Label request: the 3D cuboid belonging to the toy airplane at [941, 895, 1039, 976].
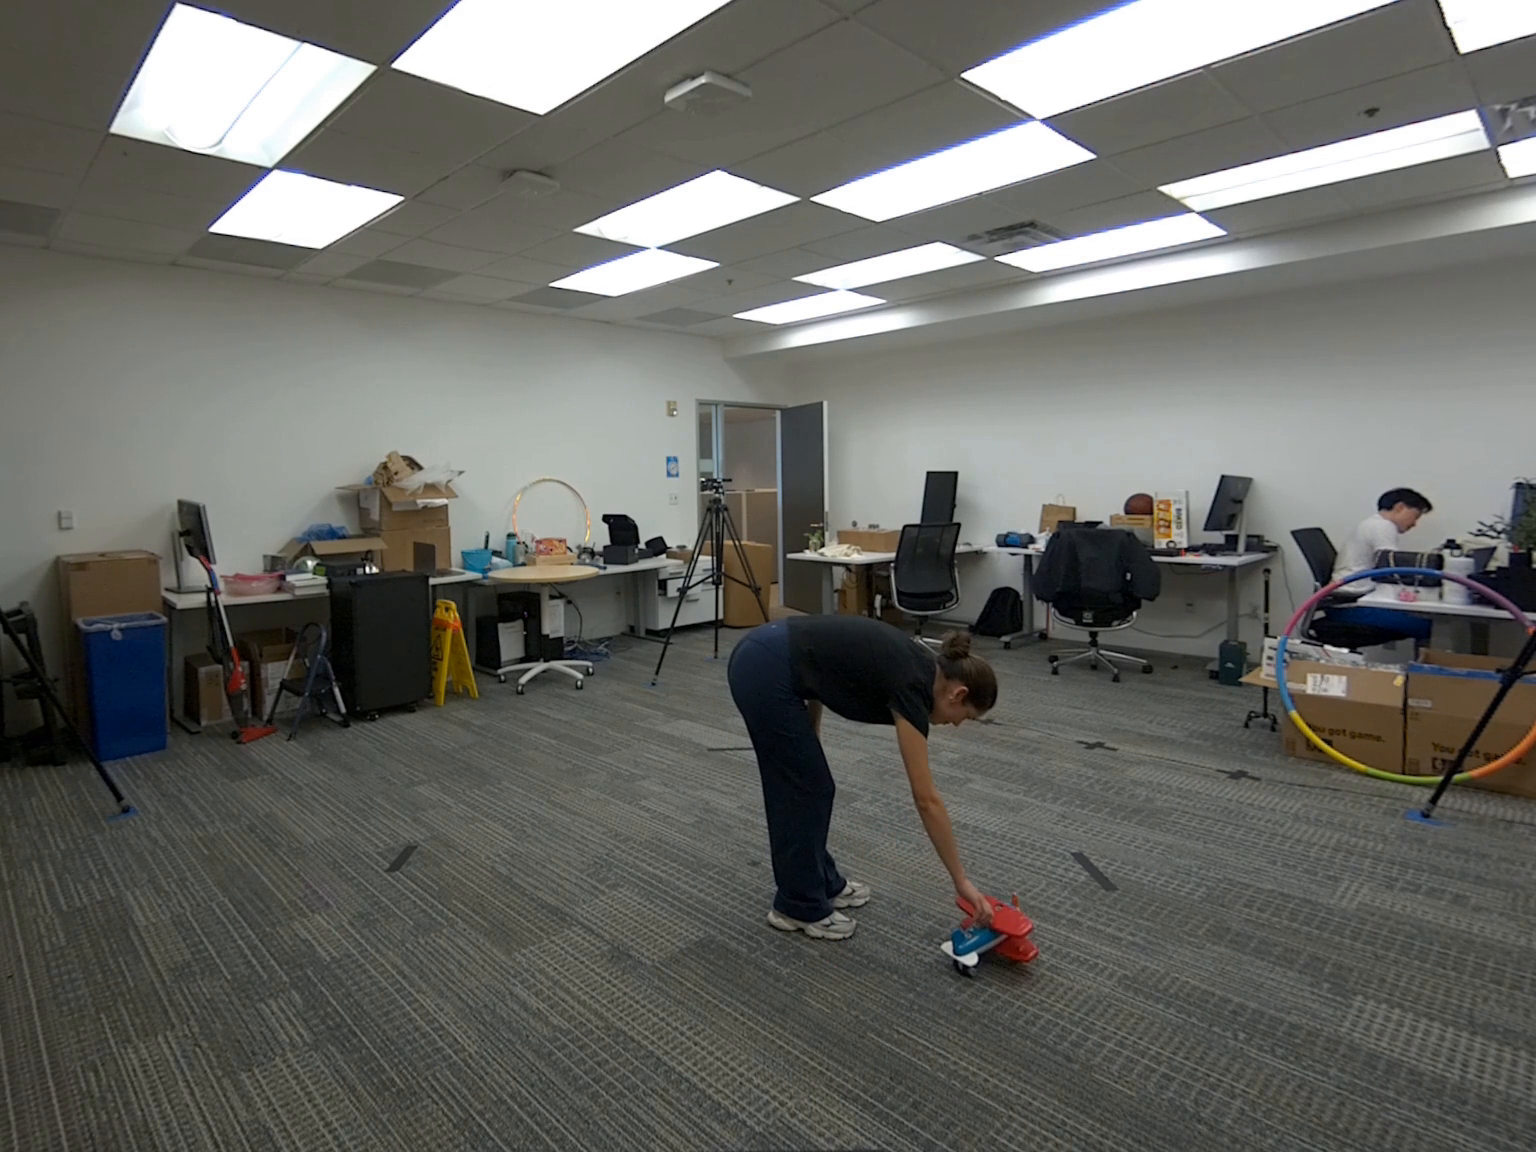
[{"bbox_3d":[0.637,1.030,2.431,0.258,0.156,0.253,1,4,31],"label":"toy airplane"}]
